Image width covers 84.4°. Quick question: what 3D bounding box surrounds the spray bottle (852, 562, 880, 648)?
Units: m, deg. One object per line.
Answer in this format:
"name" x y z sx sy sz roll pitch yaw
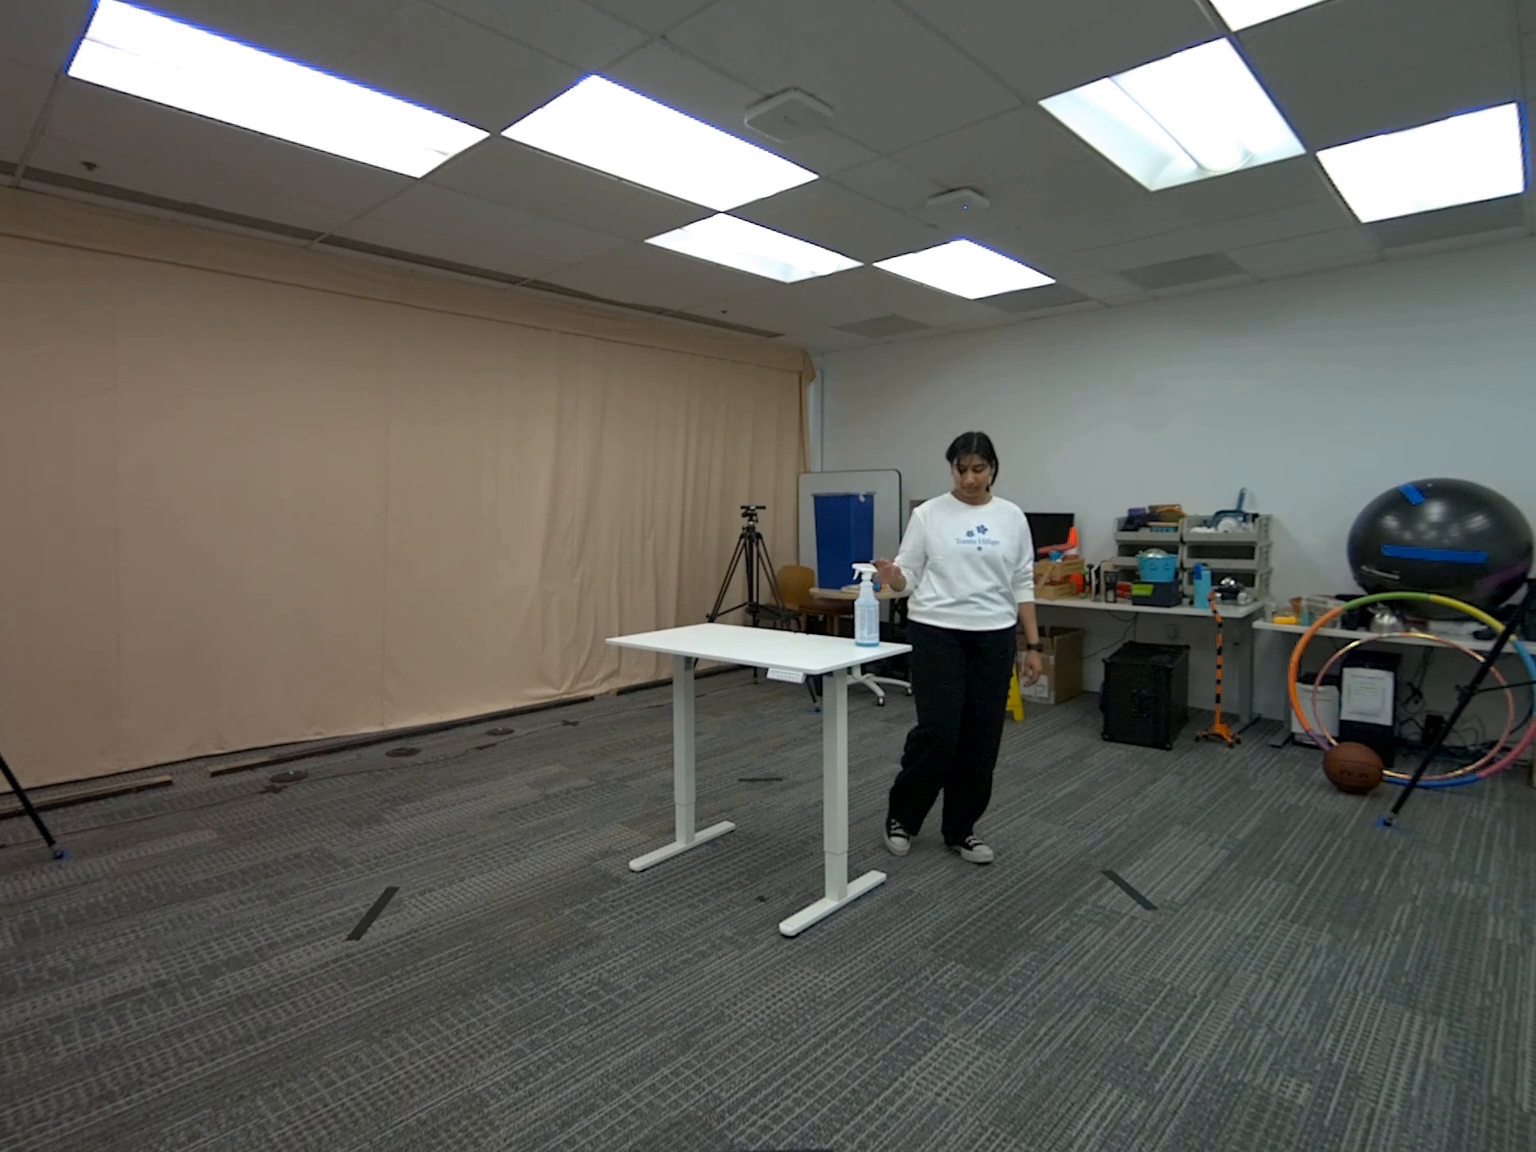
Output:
"spray bottle" 0.357 0.104 3.041 0.091 0.297 0.086 -1 3 12
